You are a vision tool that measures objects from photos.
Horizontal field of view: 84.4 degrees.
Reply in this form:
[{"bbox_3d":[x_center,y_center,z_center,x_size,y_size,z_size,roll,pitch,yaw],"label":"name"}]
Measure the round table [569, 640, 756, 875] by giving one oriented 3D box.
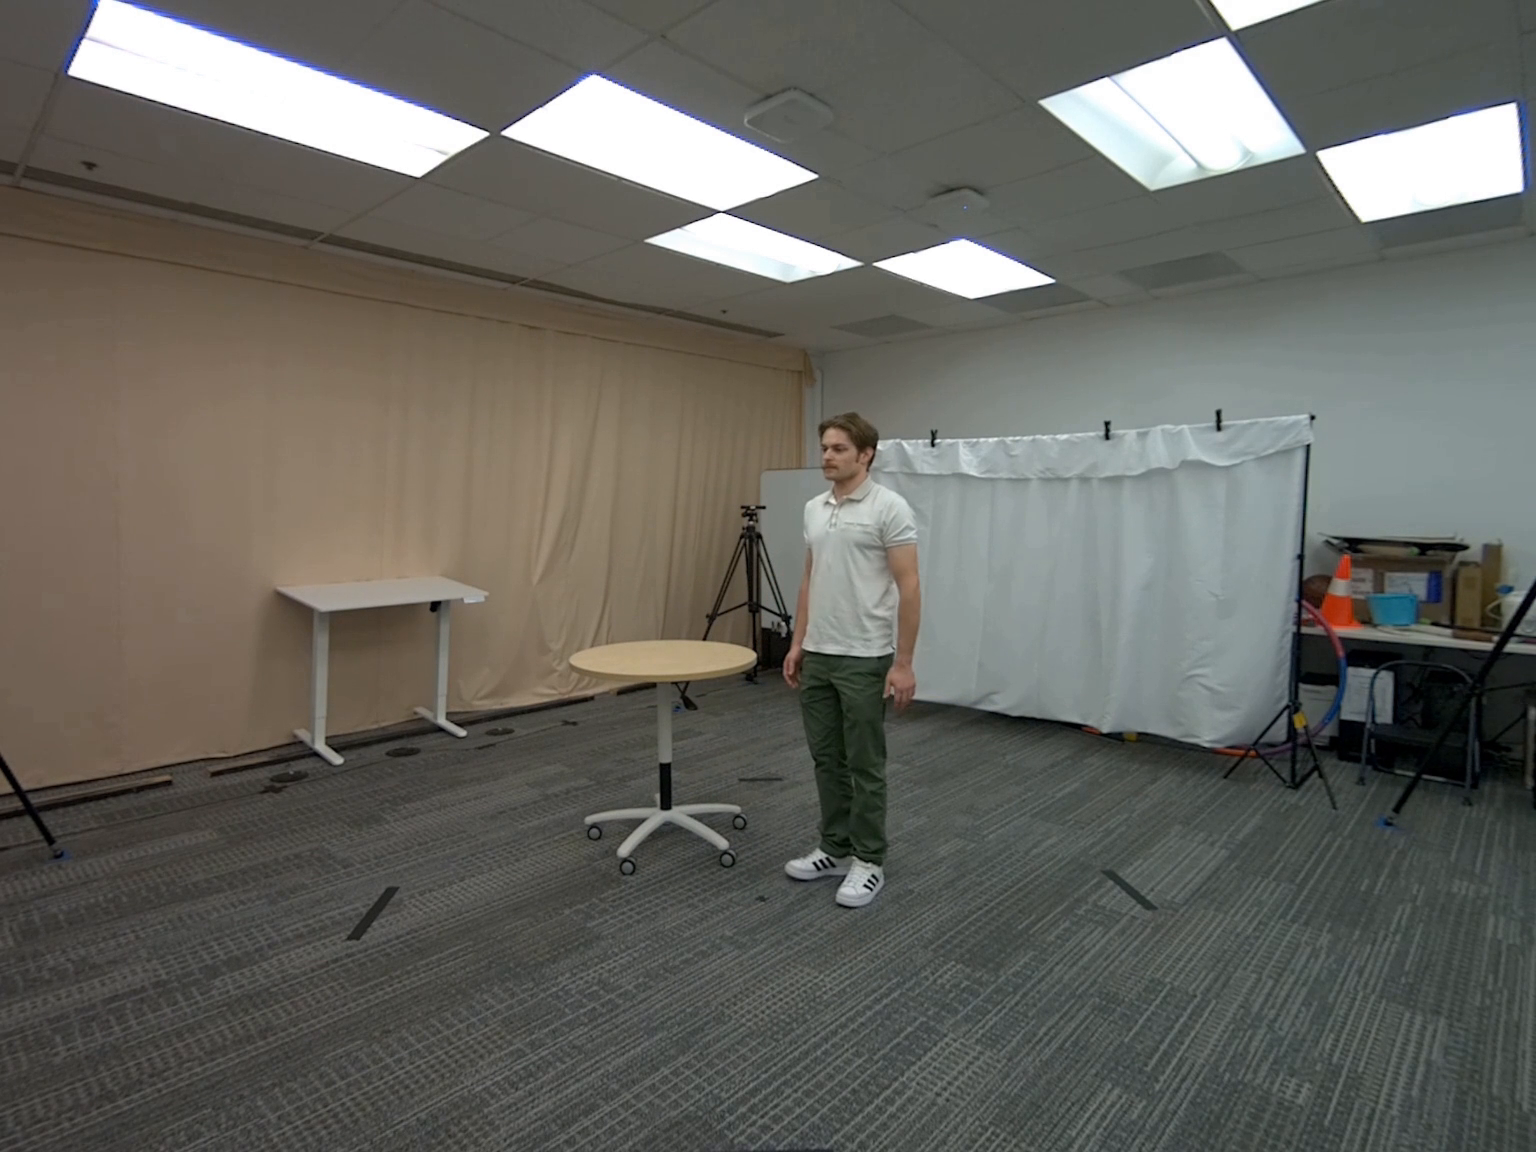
[{"bbox_3d":[-0.423,0.720,3.480,0.763,0.792,0.766,-1,4,-2],"label":"round table"}]
